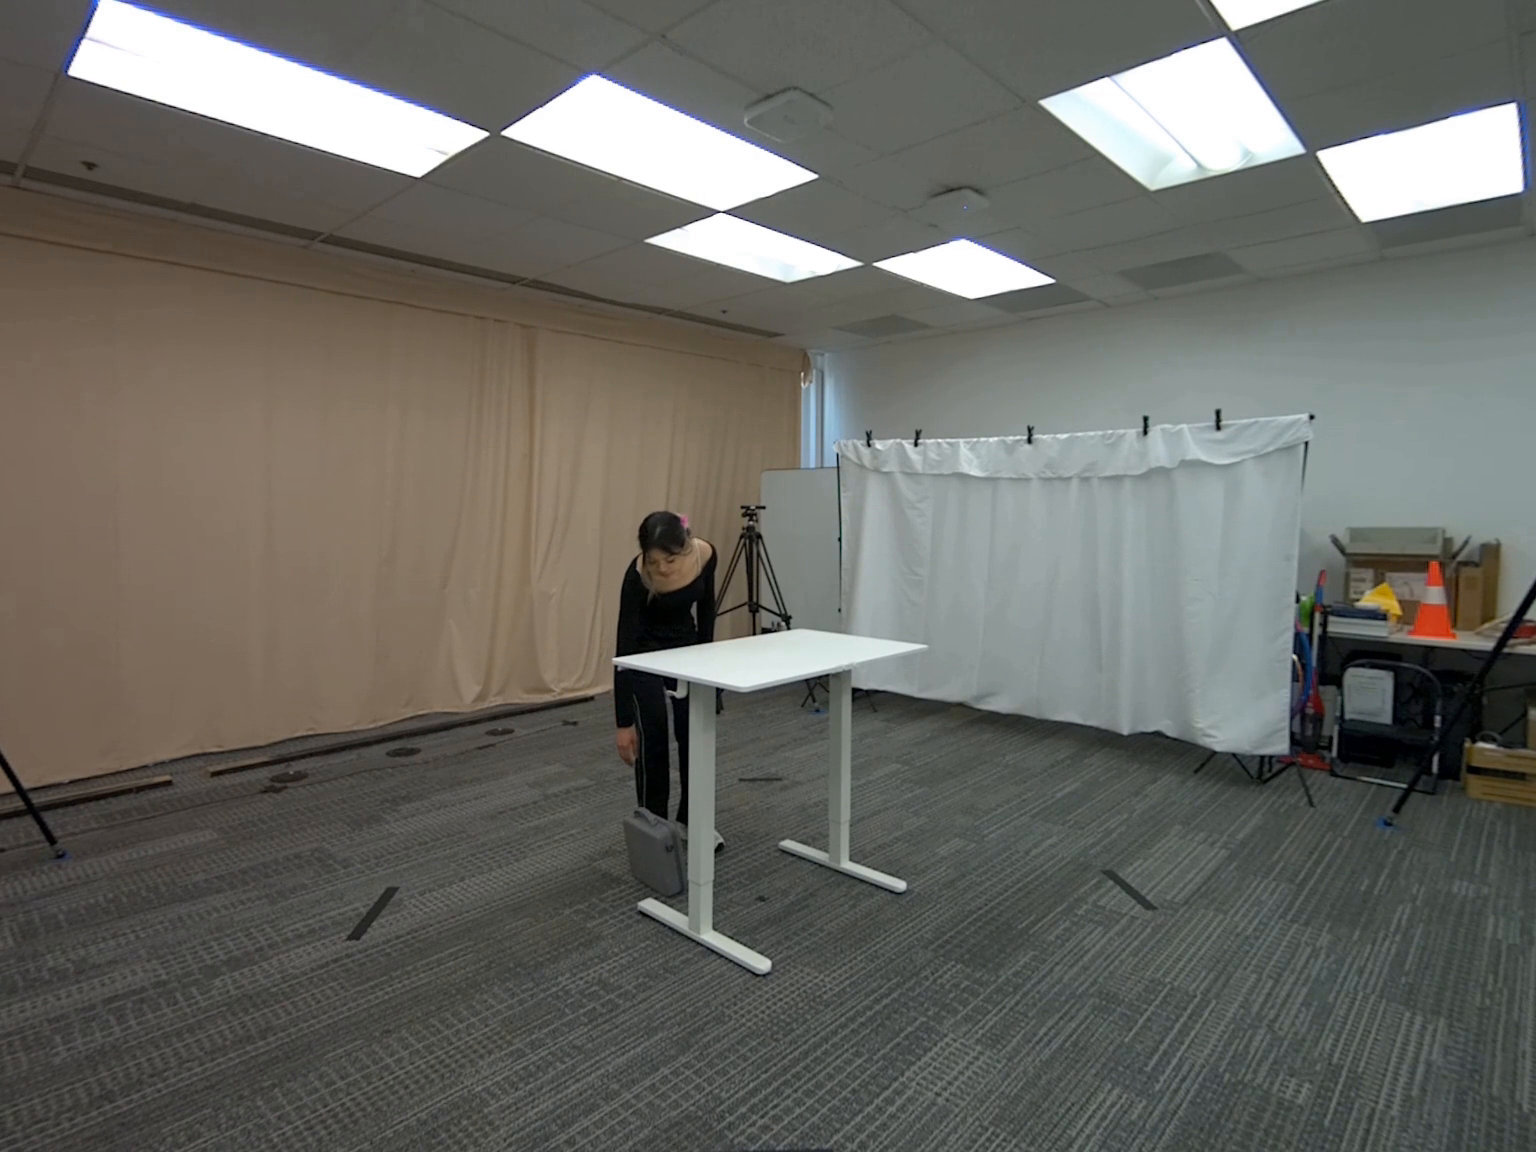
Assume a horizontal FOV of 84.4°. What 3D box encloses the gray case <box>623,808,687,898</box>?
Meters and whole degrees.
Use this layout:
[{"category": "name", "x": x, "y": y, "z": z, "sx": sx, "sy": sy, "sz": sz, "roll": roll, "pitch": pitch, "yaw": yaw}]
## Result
[{"category": "gray case", "x": -0.416, "y": 0.998, "z": 3.085, "sx": 0.102, "sy": 0.259, "sz": 0.265, "roll": -14, "pitch": 12, "yaw": -36}]
